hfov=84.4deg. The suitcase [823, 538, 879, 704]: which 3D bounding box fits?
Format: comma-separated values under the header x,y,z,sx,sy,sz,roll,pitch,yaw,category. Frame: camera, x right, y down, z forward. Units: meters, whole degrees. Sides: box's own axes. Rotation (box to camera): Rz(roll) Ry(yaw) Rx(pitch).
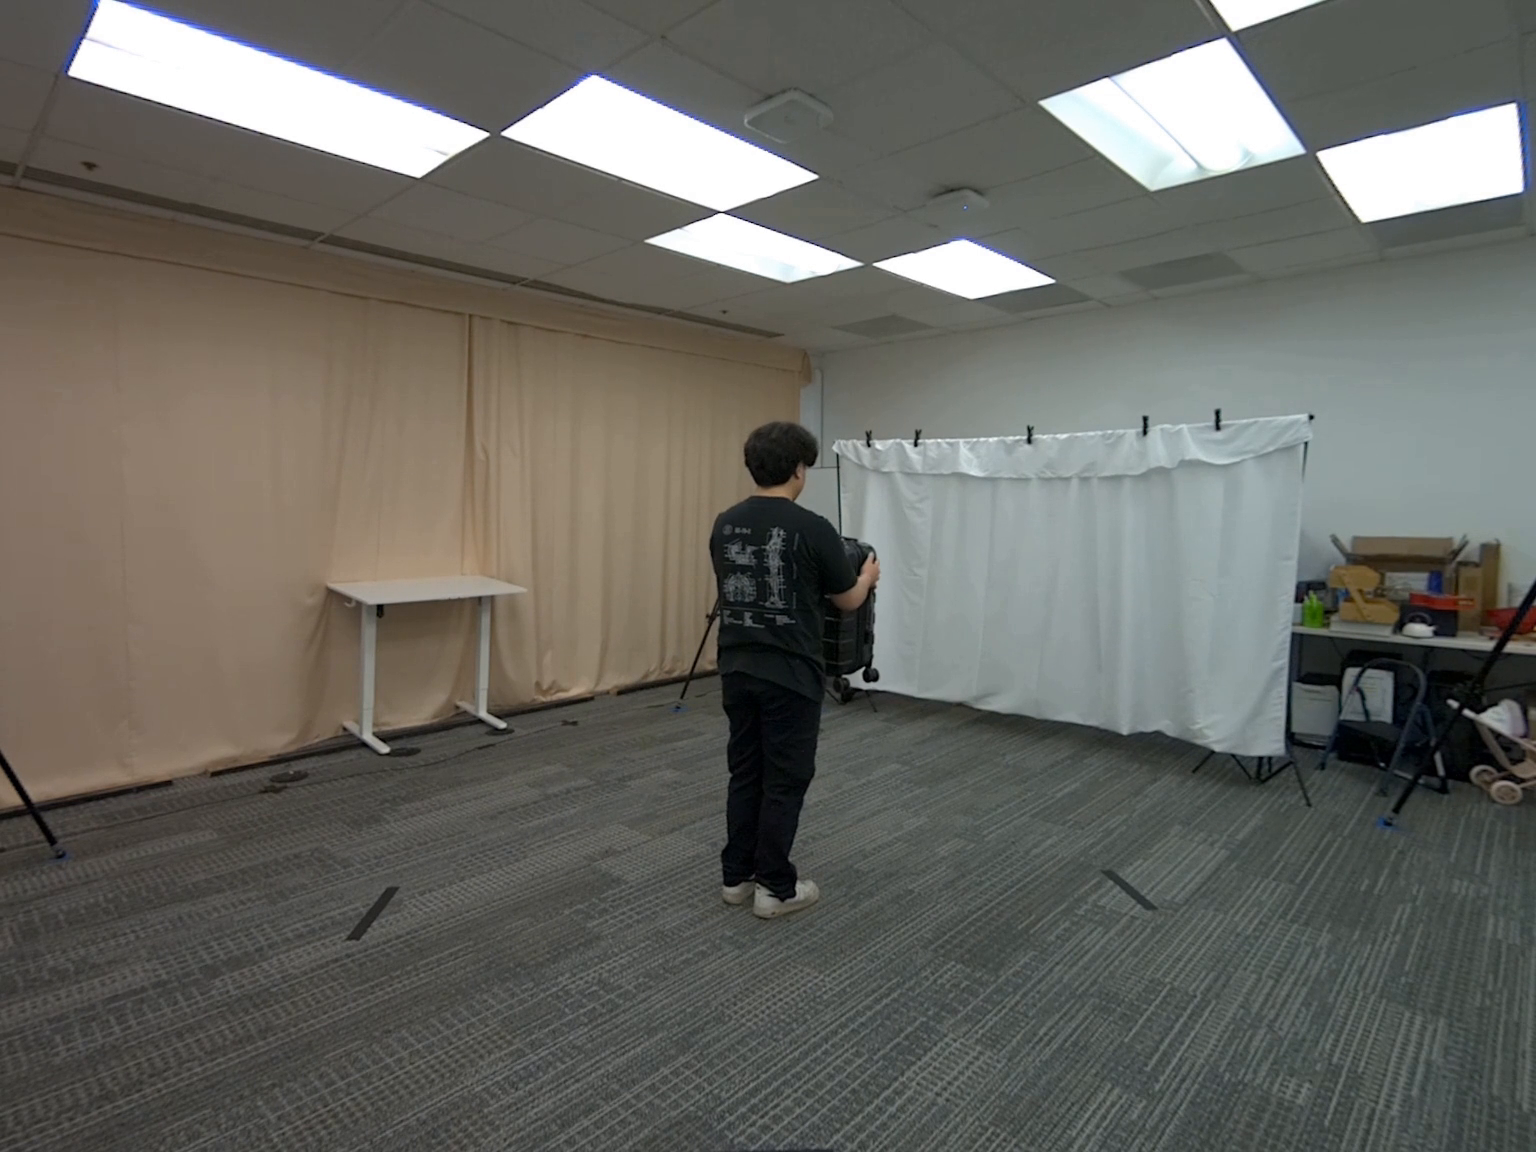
x,y,z,sx,sy,sz,roll,pitch,yaw,category
0.223,0.128,3.246,0.388,0.547,0.241,8,8,41,suitcase
